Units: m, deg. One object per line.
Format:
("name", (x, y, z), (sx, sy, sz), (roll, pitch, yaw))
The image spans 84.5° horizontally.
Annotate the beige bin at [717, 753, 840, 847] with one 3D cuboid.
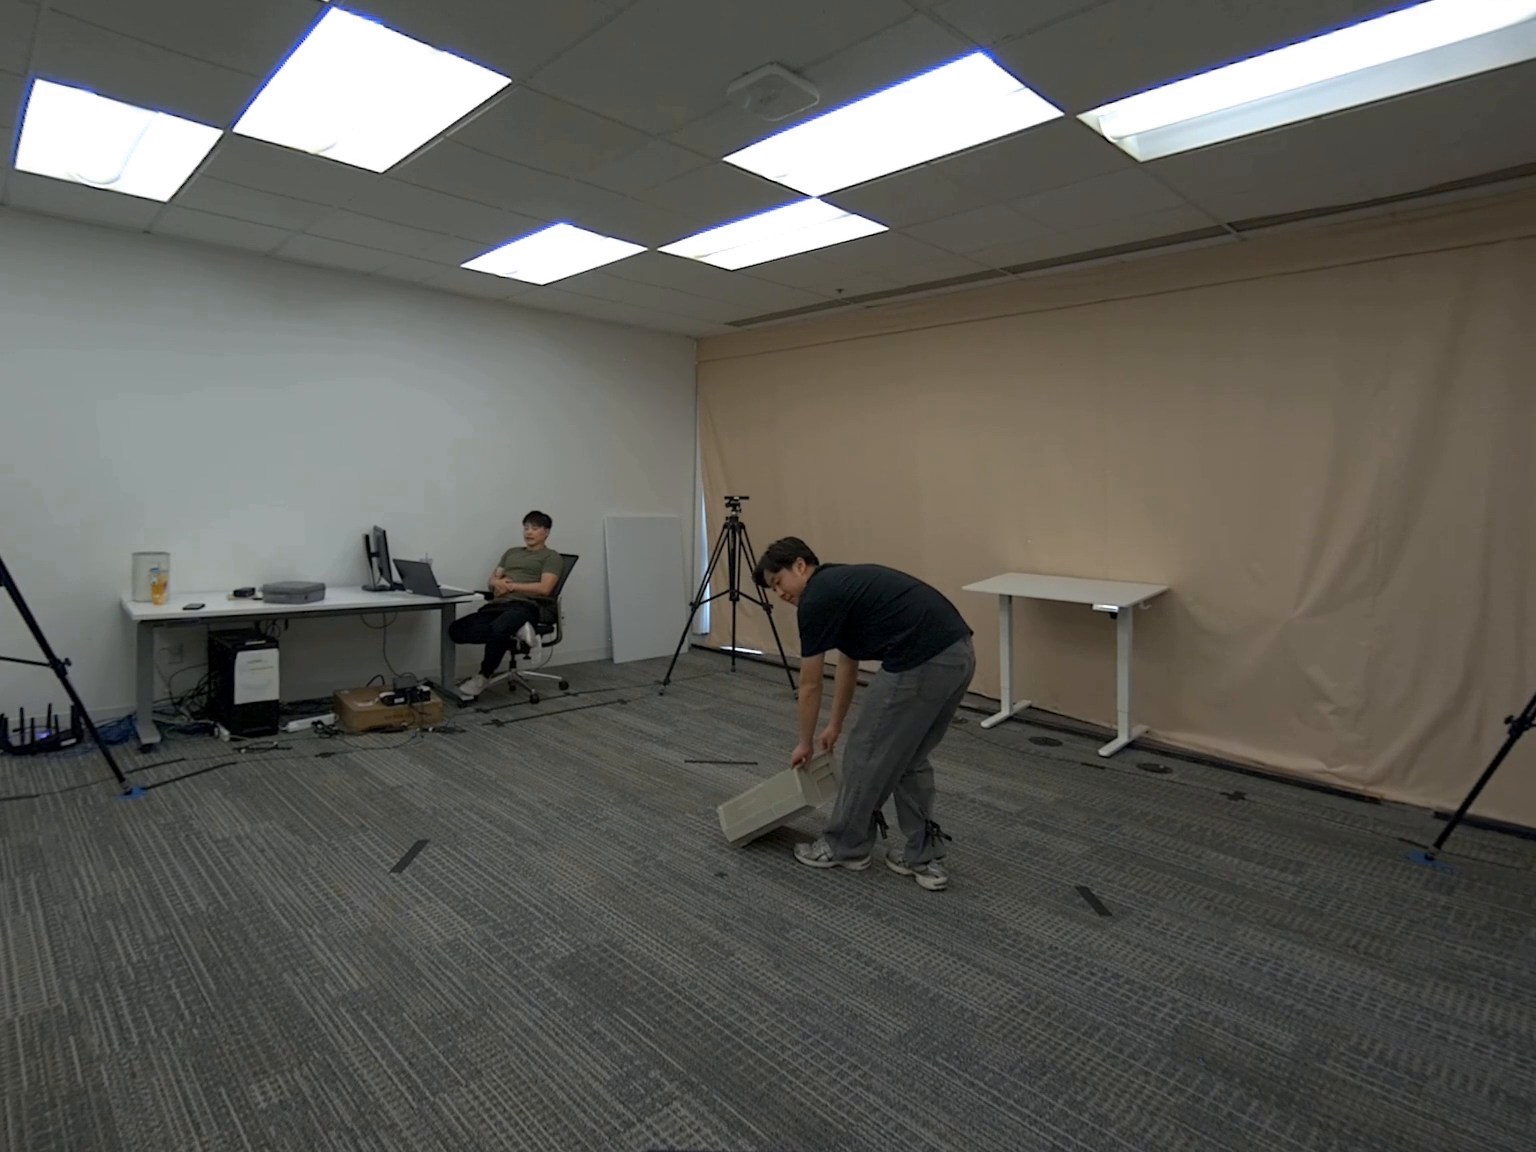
("beige bin", (0.065, 0.891, 3.392), (0.424, 0.192, 0.369), (-35, -16, 28))
